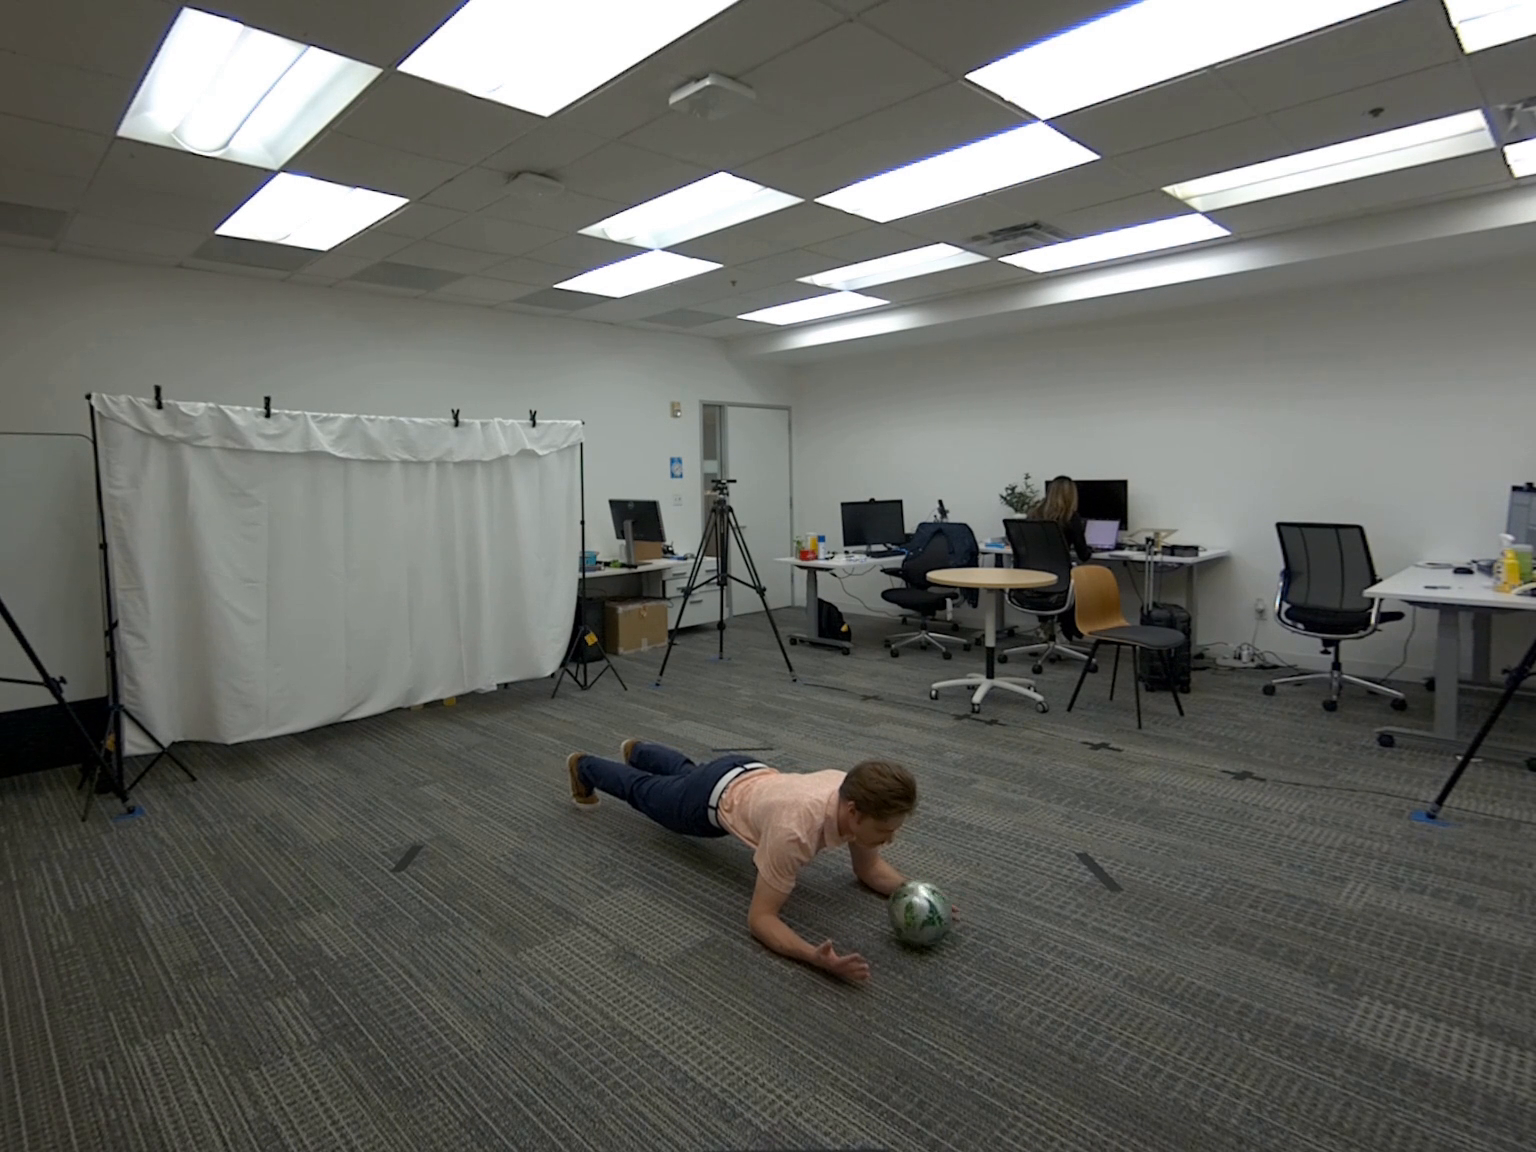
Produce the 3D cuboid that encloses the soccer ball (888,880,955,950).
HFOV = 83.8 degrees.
[{"bbox_3d":[0.452,1.004,2.554,0.187,0.187,0.188,-1,5,-2],"label":"soccer ball"}]
